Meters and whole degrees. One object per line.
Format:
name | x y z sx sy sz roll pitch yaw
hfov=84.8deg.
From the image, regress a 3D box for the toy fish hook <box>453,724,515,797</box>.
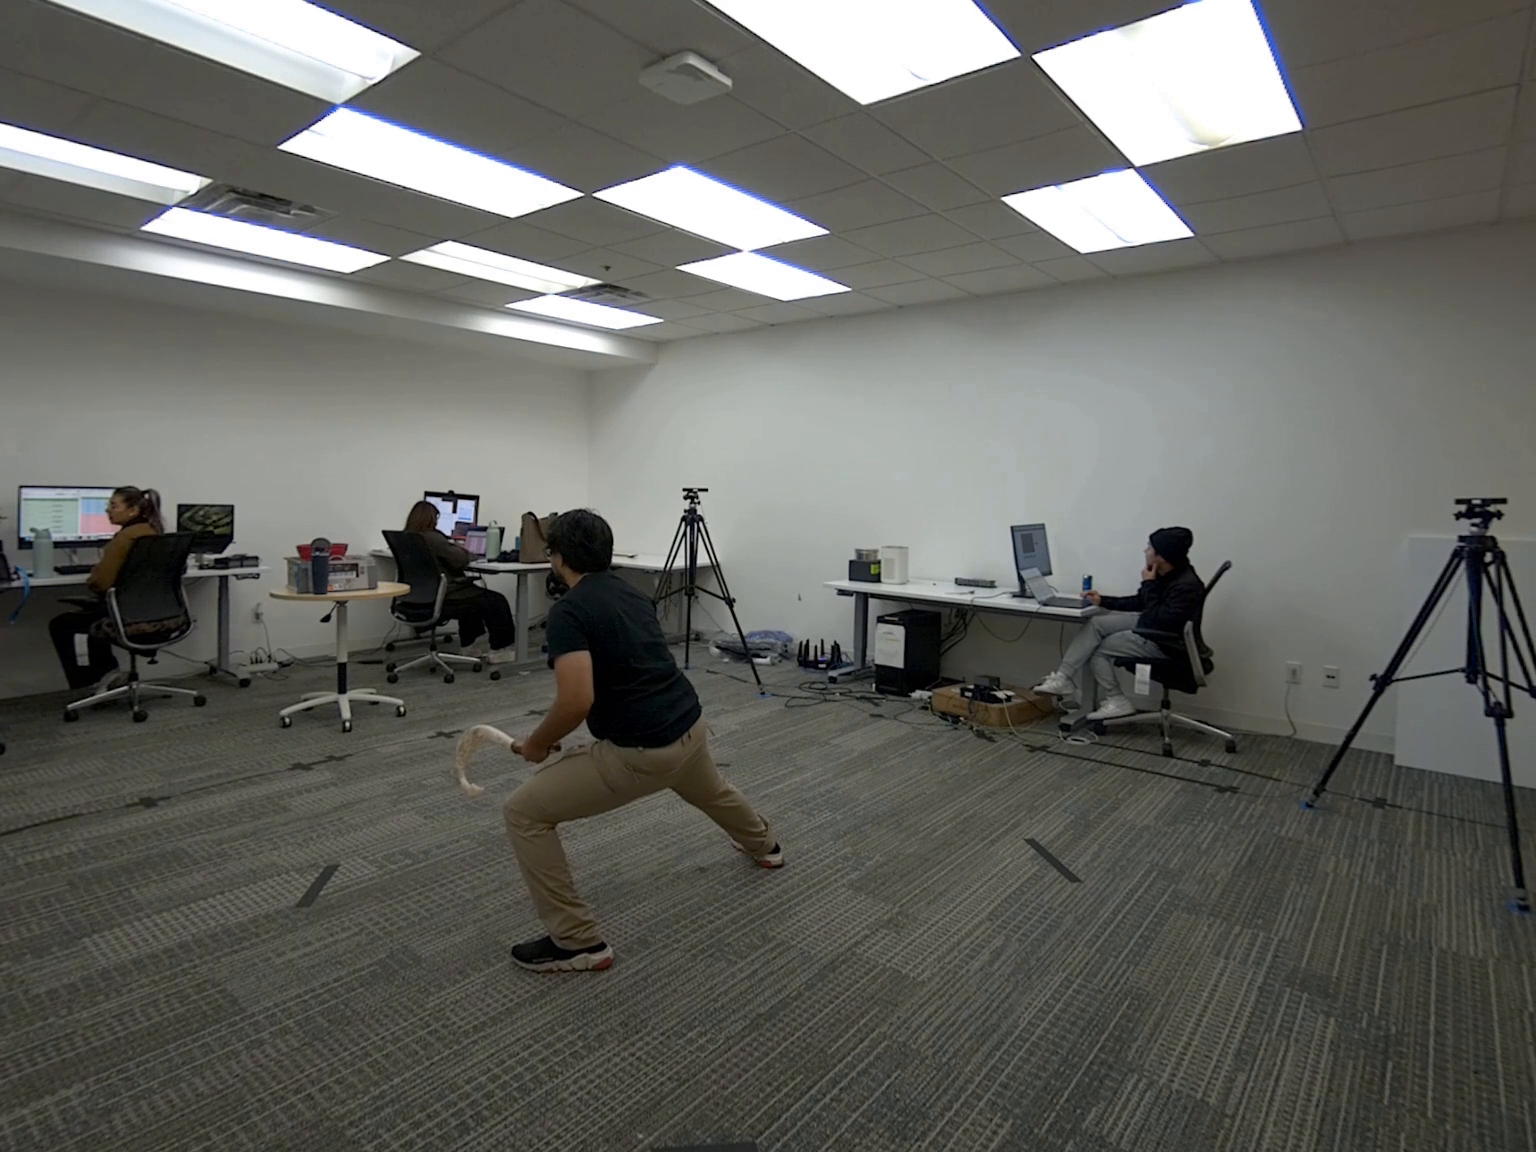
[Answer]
toy fish hook | -0.853 0.592 2.704 0.520 0.228 0.046 -8 -18 37
